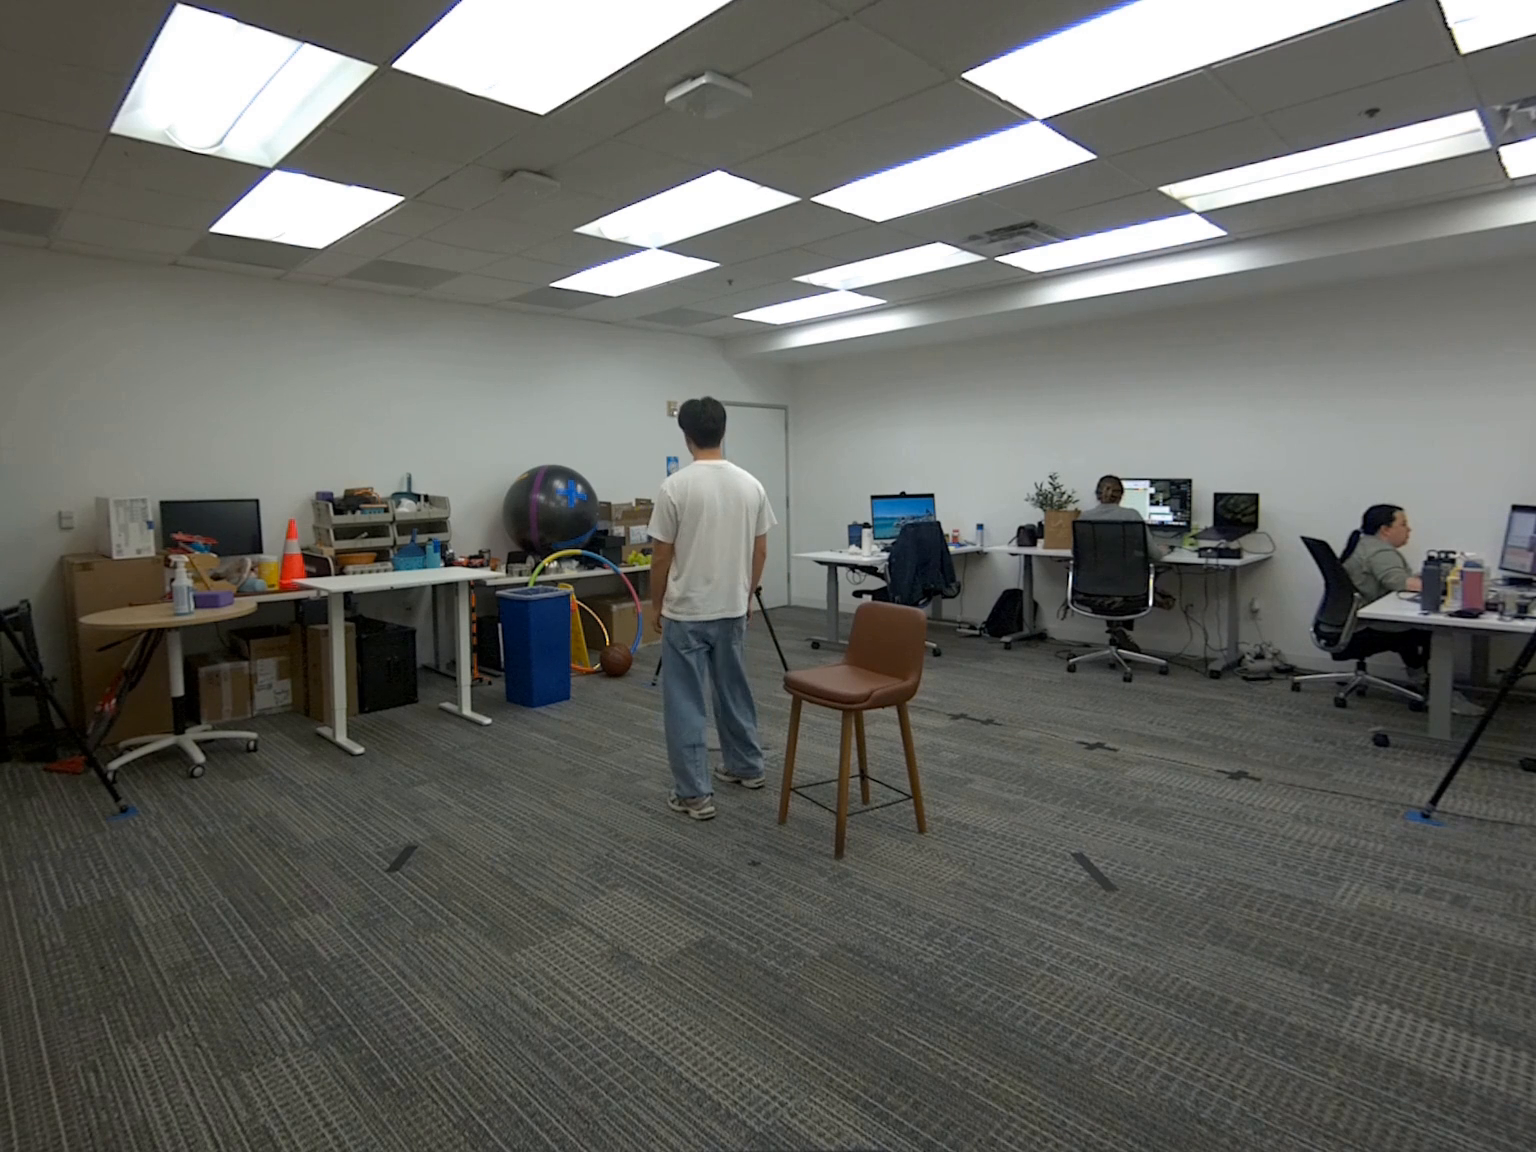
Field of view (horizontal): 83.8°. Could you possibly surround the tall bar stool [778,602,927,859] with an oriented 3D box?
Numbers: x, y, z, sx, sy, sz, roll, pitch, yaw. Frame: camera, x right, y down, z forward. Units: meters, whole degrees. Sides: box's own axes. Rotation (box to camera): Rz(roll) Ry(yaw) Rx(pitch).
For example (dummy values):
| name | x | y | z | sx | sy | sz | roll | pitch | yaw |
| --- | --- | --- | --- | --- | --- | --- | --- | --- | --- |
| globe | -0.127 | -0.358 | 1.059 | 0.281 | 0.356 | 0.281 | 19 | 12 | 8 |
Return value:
| name | x | y | z | sx | sy | sz | roll | pitch | yaw |
| --- | --- | --- | --- | --- | --- | --- | --- | --- | --- |
| tall bar stool | 0.340 | 0.571 | 3.385 | 0.456 | 0.887 | 0.469 | -1 | 4 | -32 |
